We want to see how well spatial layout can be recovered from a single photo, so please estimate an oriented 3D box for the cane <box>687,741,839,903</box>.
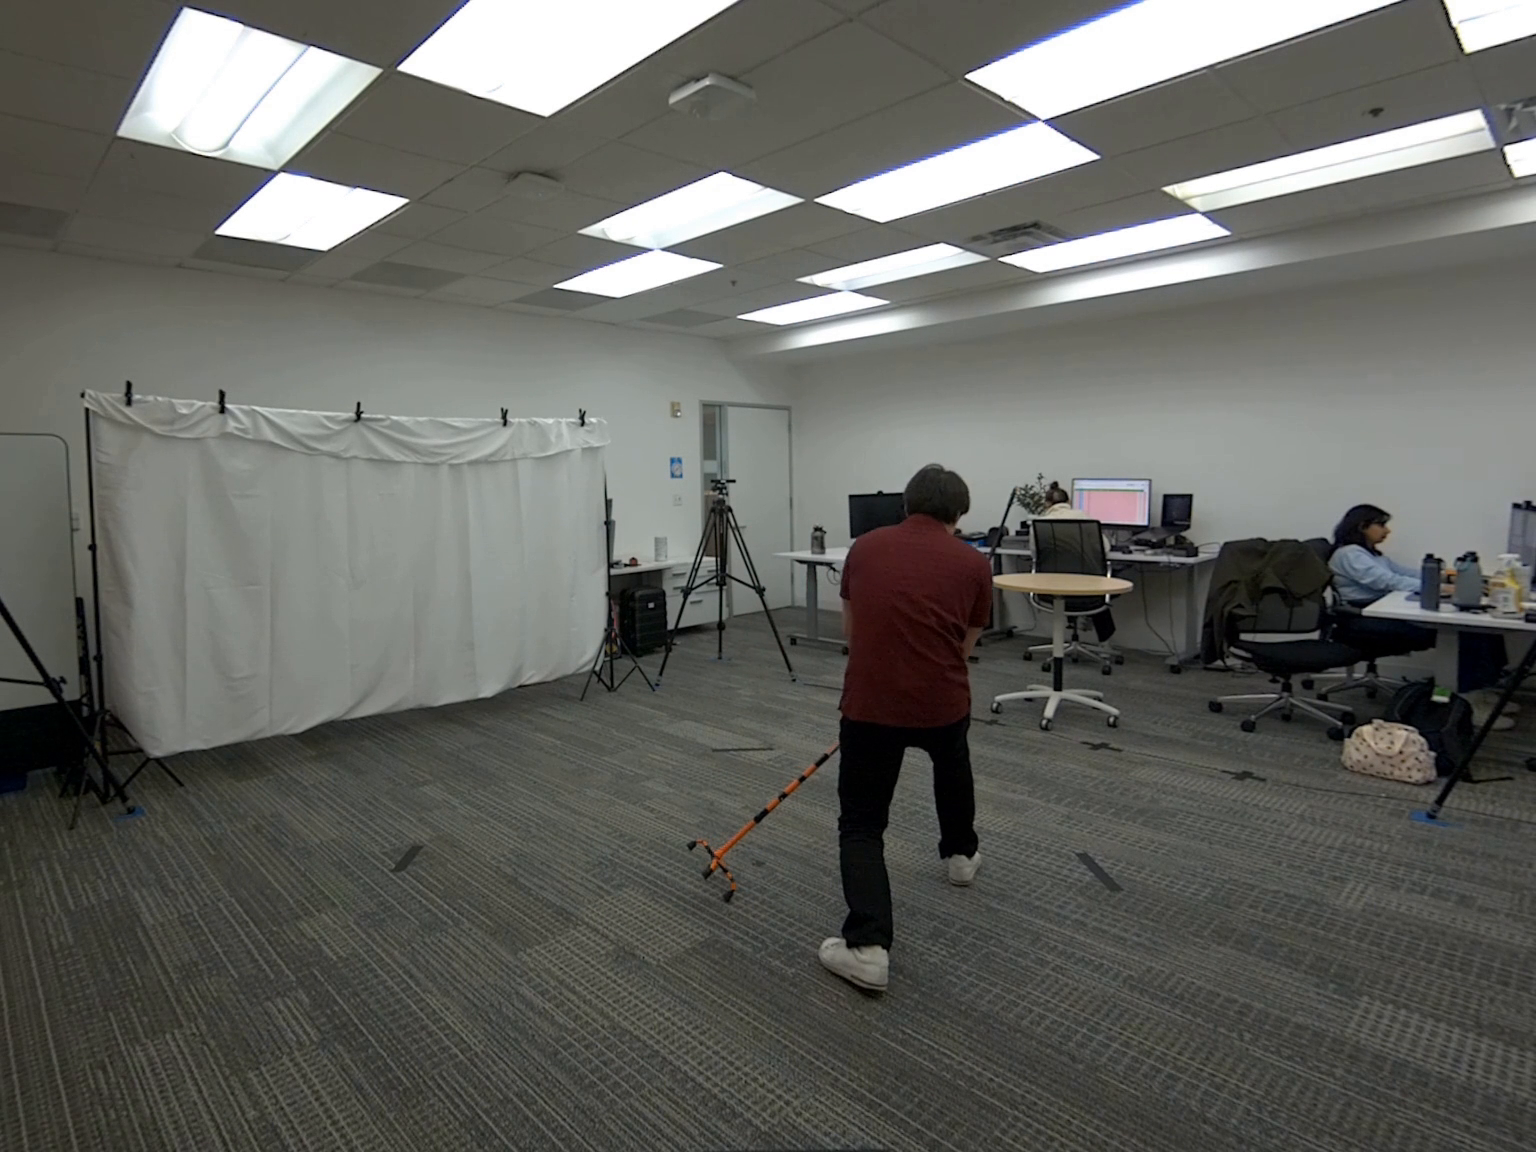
[{"bbox_3d":[0.128,0.717,2.947,0.907,0.148,0.212,-41,21,-8],"label":"cane"}]
